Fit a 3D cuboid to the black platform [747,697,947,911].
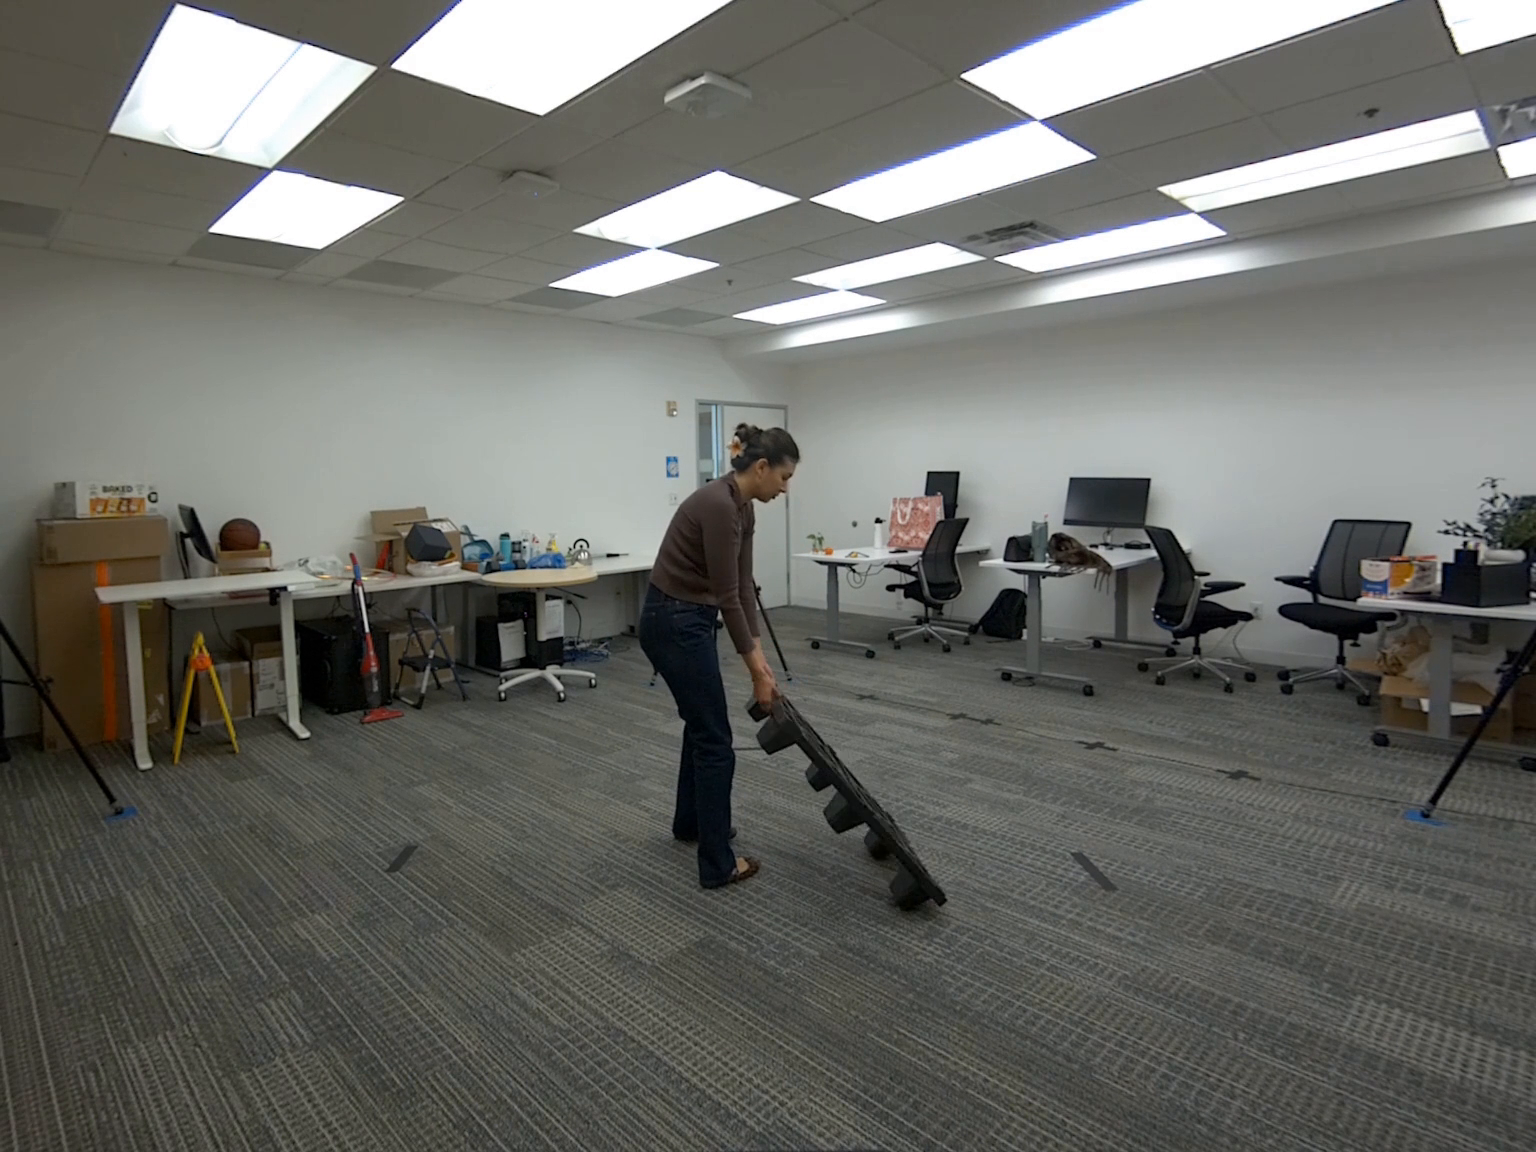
[{"bbox_3d":[0.223,0.730,2.954,0.143,0.800,0.610,-40,6,-1],"label":"black platform"}]
